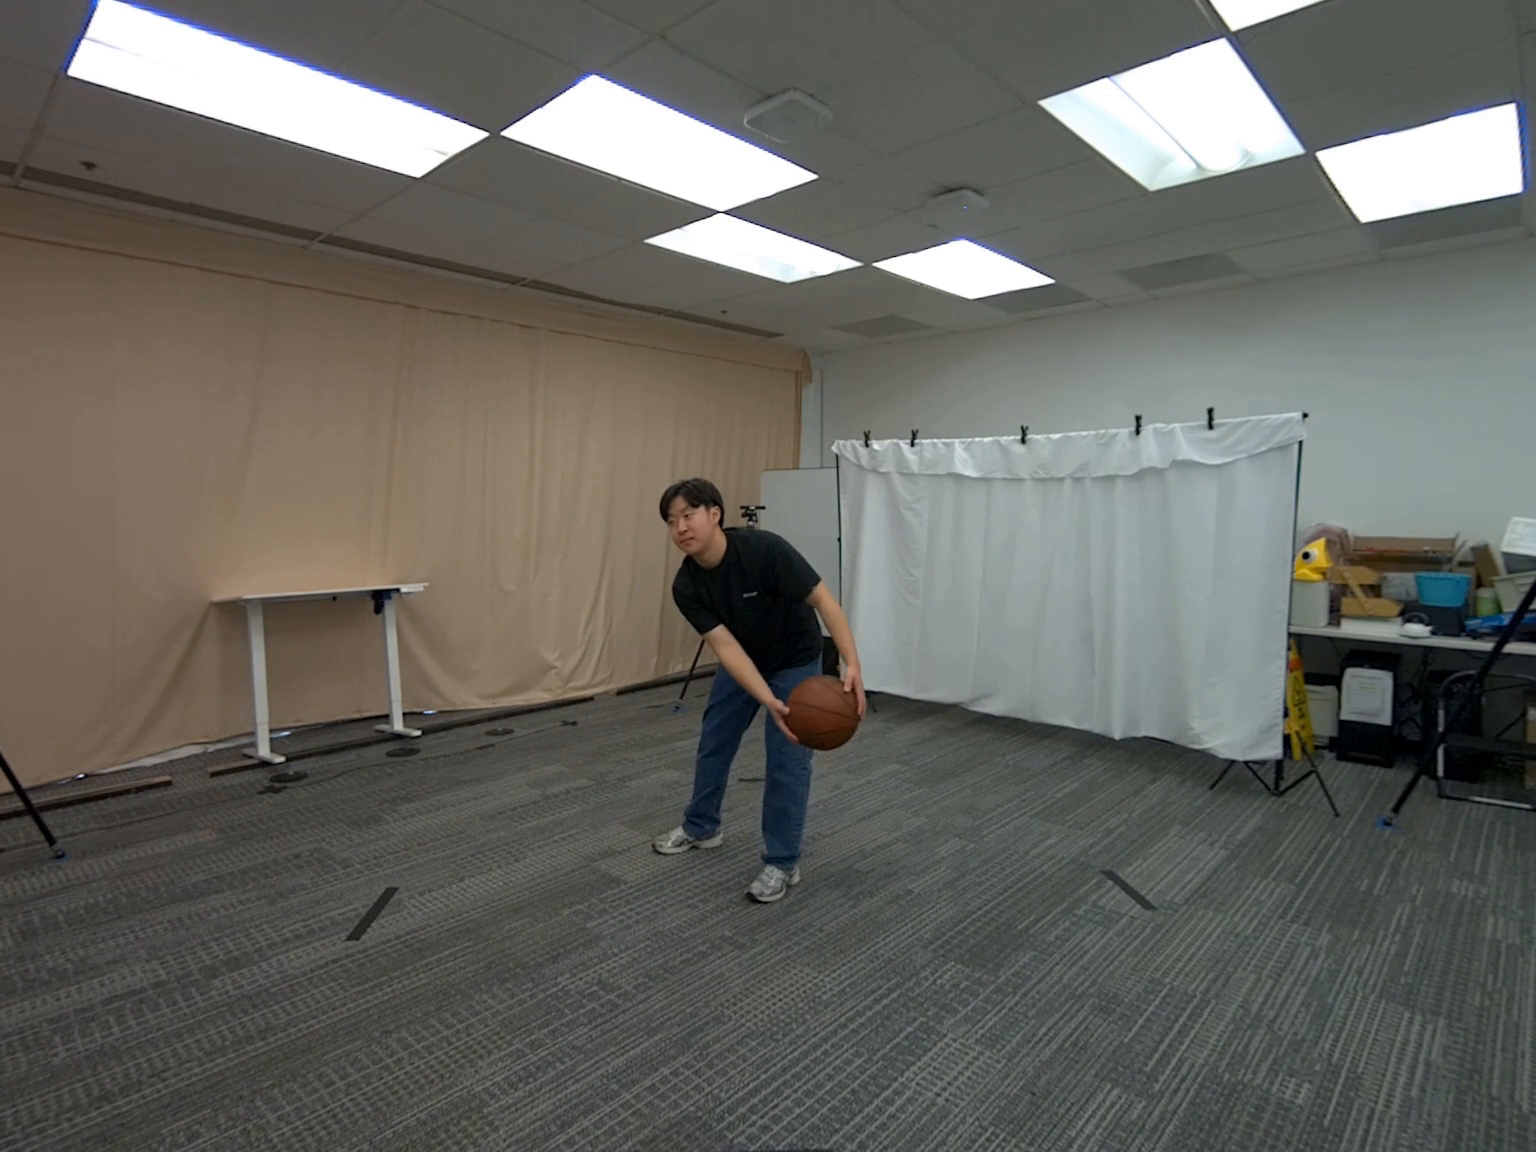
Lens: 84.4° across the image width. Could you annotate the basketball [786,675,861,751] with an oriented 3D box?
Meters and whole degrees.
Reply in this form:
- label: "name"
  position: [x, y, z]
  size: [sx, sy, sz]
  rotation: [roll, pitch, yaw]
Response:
- label: "basketball"
  position: [0.166, 0.442, 2.711]
  size: [0.236, 0.235, 0.237]
  rotation: [0, 4, -2]
